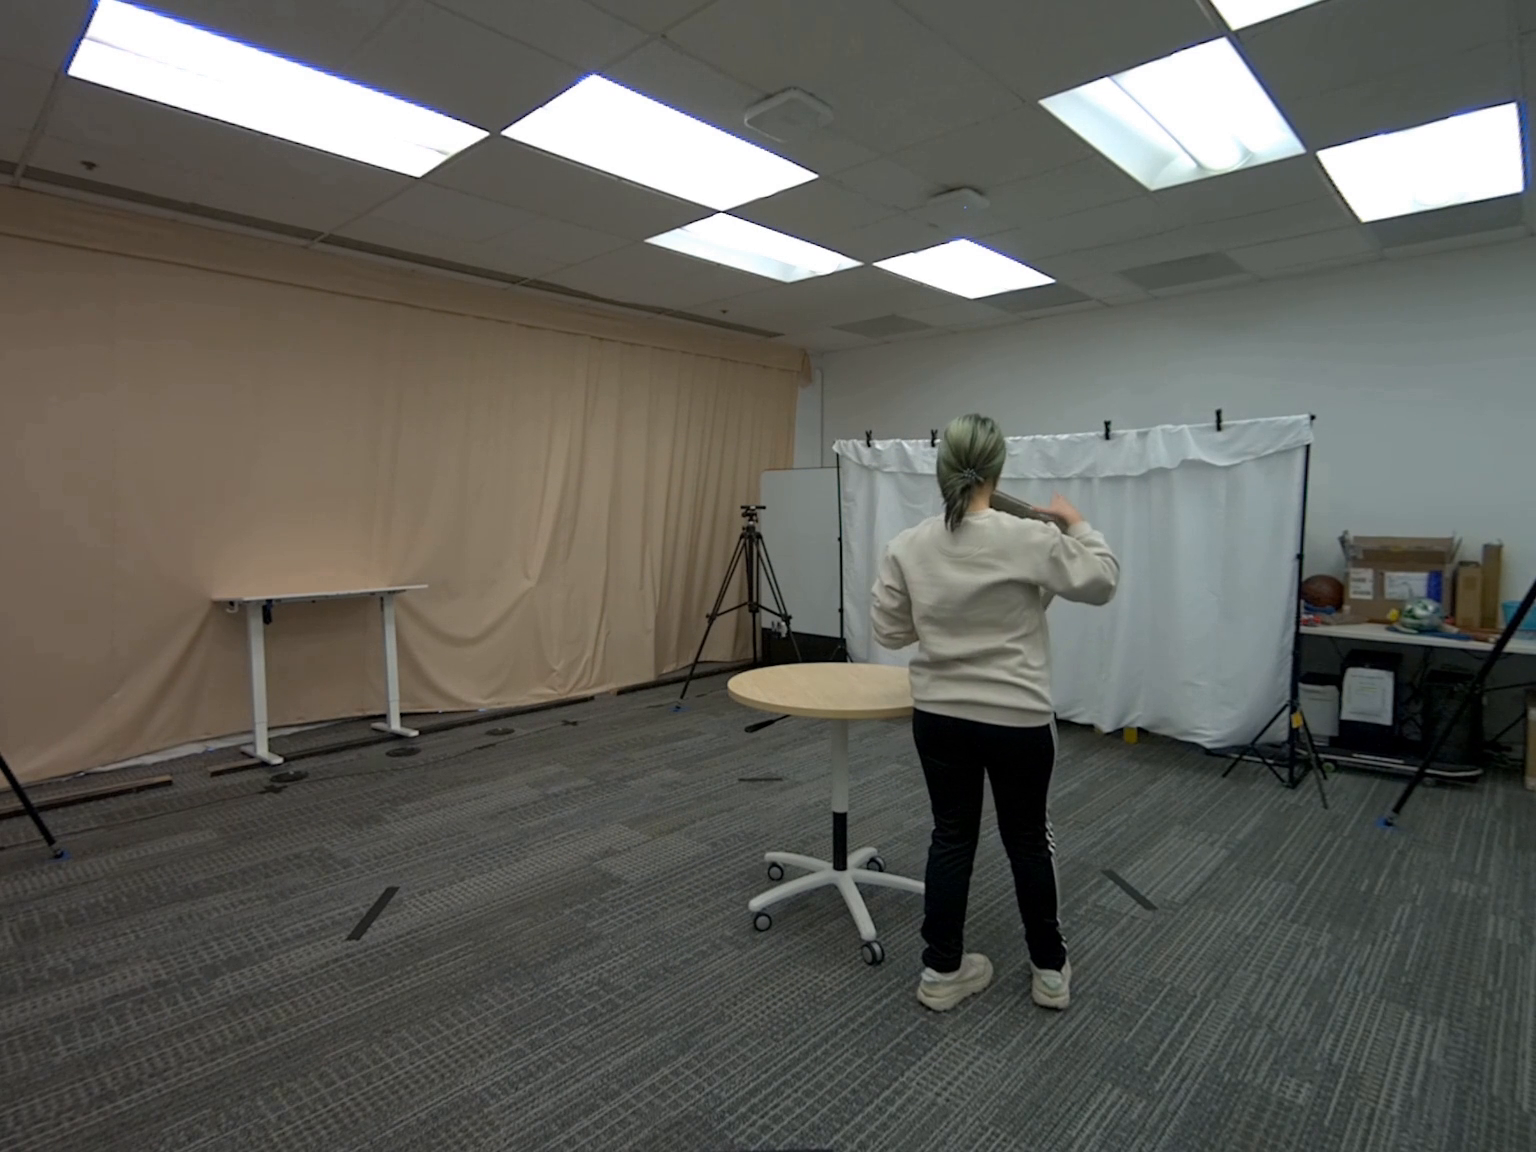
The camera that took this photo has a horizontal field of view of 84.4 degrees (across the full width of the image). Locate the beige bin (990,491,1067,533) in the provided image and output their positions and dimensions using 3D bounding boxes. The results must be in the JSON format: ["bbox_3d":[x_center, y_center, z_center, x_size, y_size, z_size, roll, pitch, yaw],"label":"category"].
[{"bbox_3d":[0.746,-0.027,2.672,0.182,0.422,0.391,23,9,-44],"label":"beige bin"}]
